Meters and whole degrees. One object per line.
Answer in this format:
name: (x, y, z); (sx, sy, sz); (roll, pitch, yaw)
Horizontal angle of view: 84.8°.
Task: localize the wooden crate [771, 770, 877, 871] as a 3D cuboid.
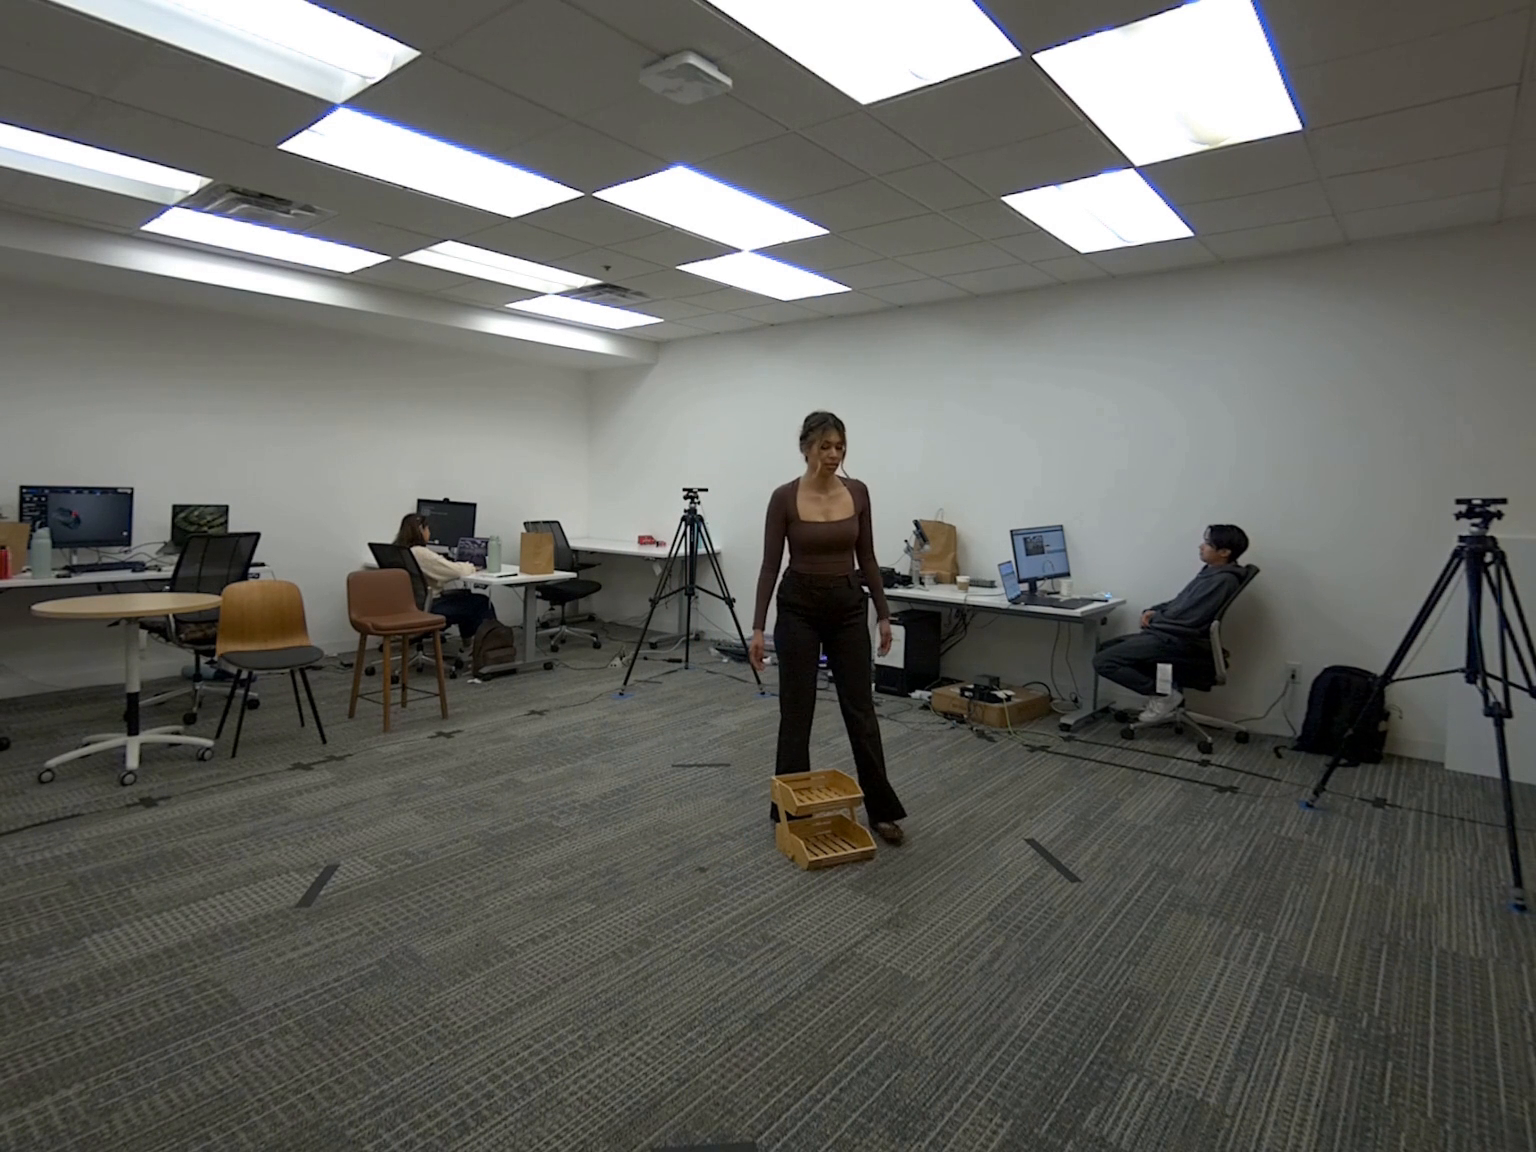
wooden crate: (0.210, 0.925, 3.289); (0.316, 0.272, 0.310); (-1, 4, -27)
